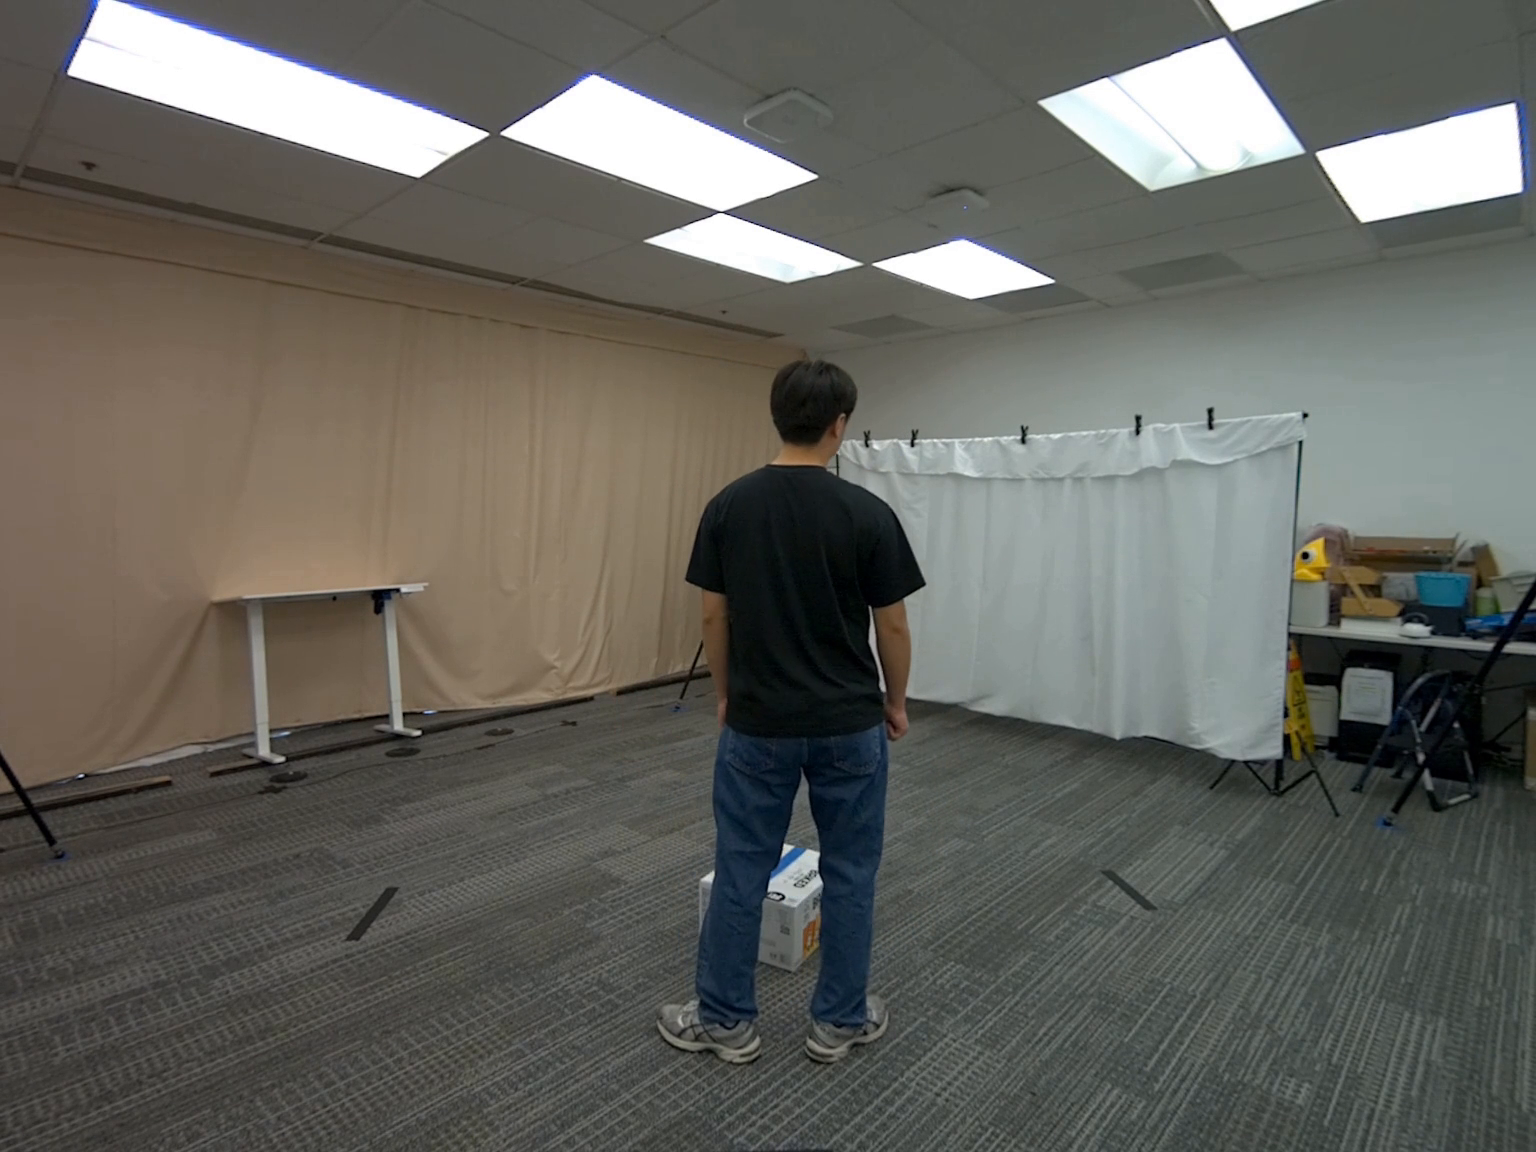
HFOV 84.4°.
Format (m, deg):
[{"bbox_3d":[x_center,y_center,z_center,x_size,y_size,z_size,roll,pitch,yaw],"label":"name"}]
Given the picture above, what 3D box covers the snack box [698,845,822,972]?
[{"bbox_3d":[0.028,1.061,2.753,0.350,0.205,0.394,3,5,30],"label":"snack box"}]
